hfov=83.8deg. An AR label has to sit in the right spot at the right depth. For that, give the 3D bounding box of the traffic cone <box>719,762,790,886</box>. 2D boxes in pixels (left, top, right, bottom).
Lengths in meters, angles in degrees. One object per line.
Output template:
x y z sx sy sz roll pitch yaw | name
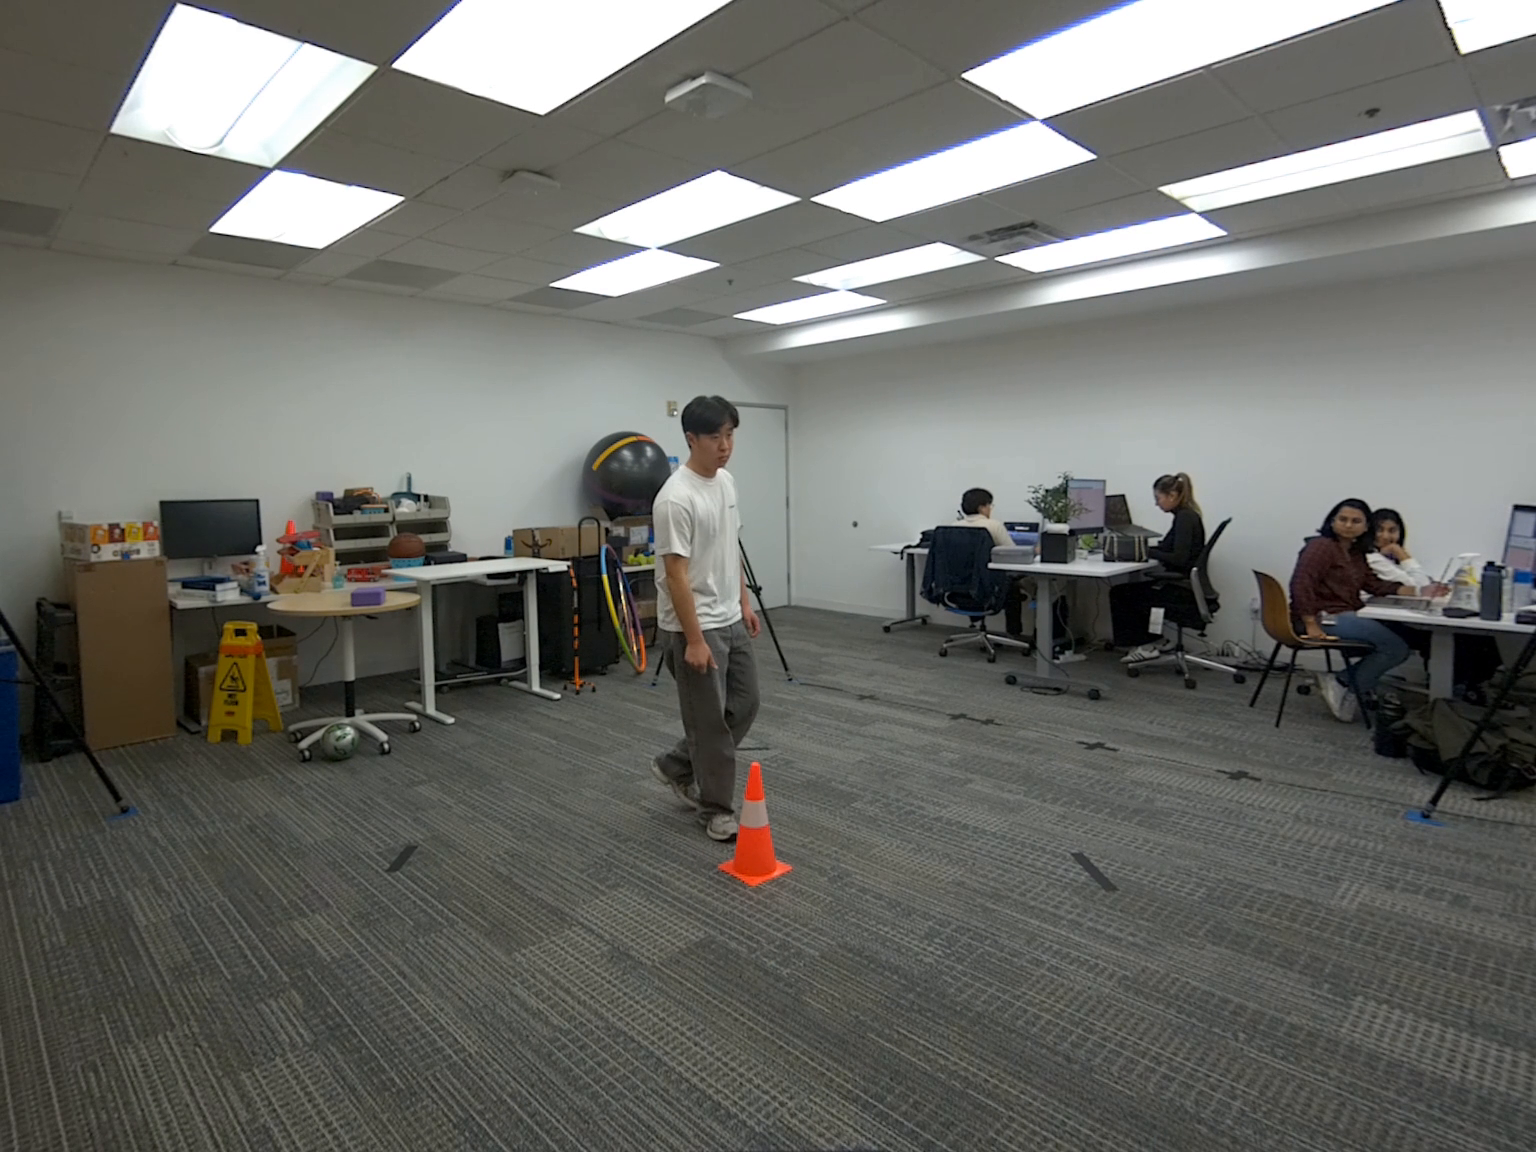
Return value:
-0.046 0.866 3.074 0.211 0.383 0.198 2 3 39 | traffic cone
